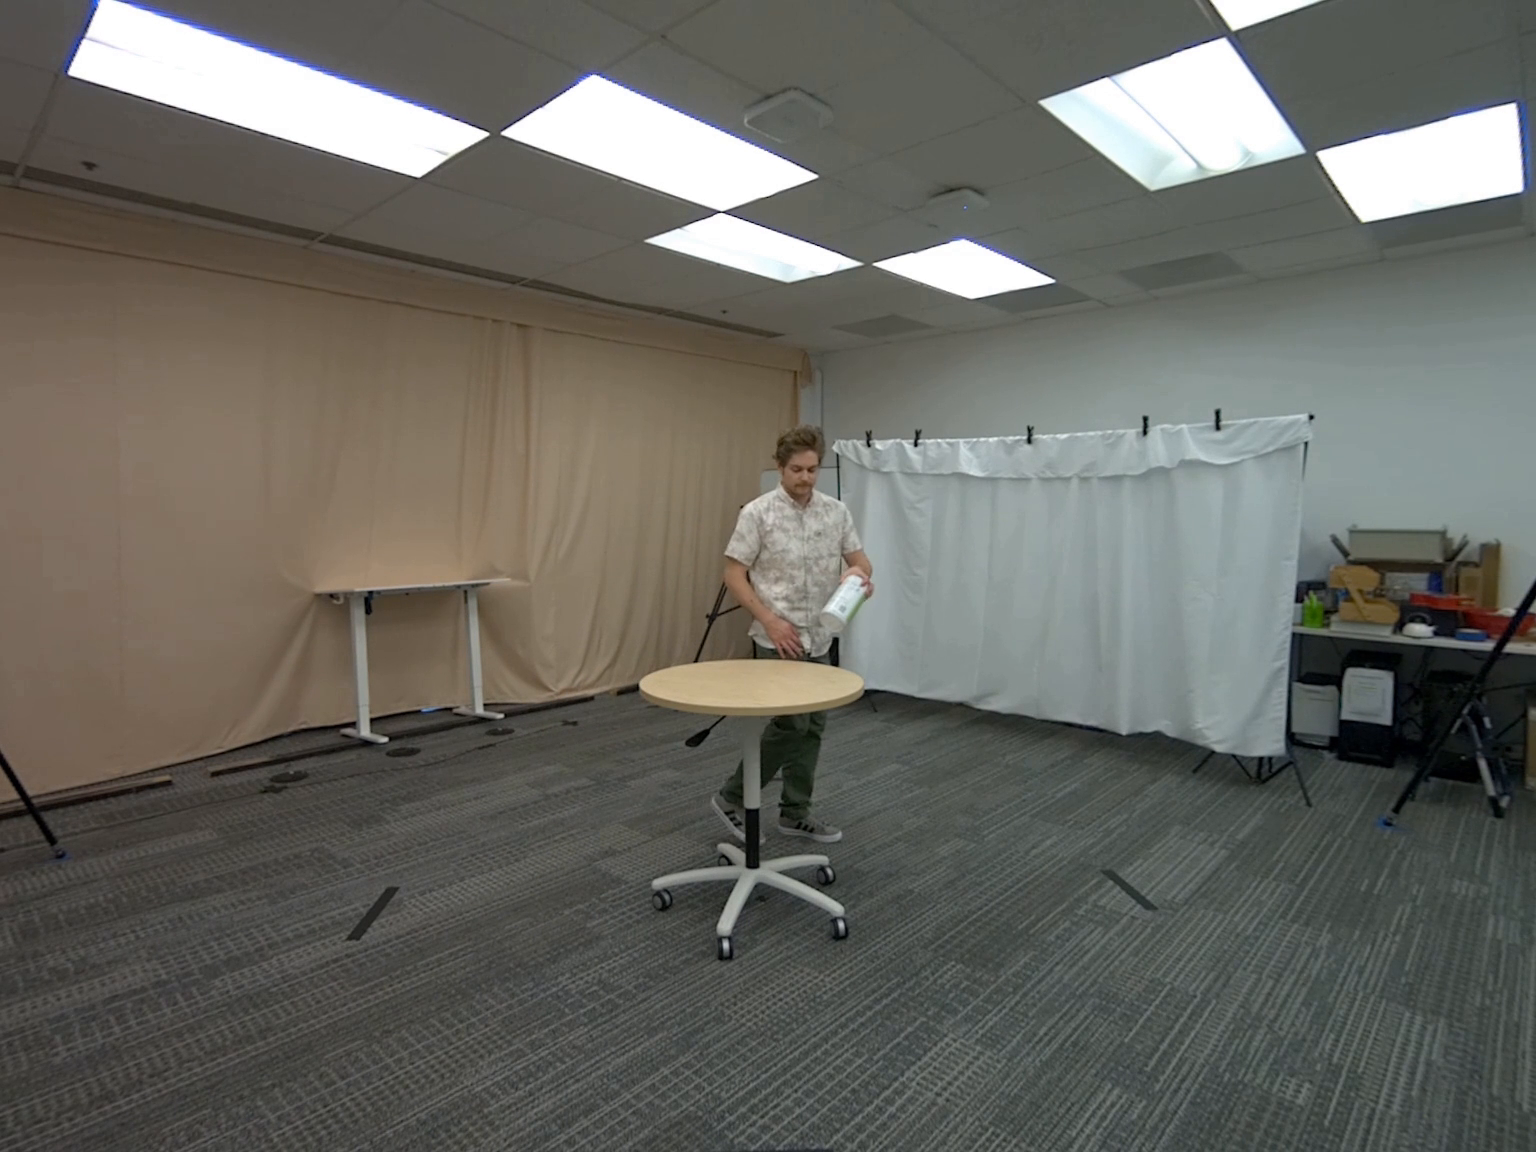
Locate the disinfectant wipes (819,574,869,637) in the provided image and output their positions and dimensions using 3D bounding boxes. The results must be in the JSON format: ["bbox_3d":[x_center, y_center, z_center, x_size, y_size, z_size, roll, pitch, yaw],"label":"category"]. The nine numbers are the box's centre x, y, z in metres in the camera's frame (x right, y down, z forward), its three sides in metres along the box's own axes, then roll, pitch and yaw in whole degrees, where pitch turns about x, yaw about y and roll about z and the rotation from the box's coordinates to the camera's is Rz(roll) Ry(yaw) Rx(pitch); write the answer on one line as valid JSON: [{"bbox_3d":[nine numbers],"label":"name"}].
[{"bbox_3d":[0.282,0.103,3.131,0.121,0.114,0.216,3,42,40],"label":"disinfectant wipes"}]
